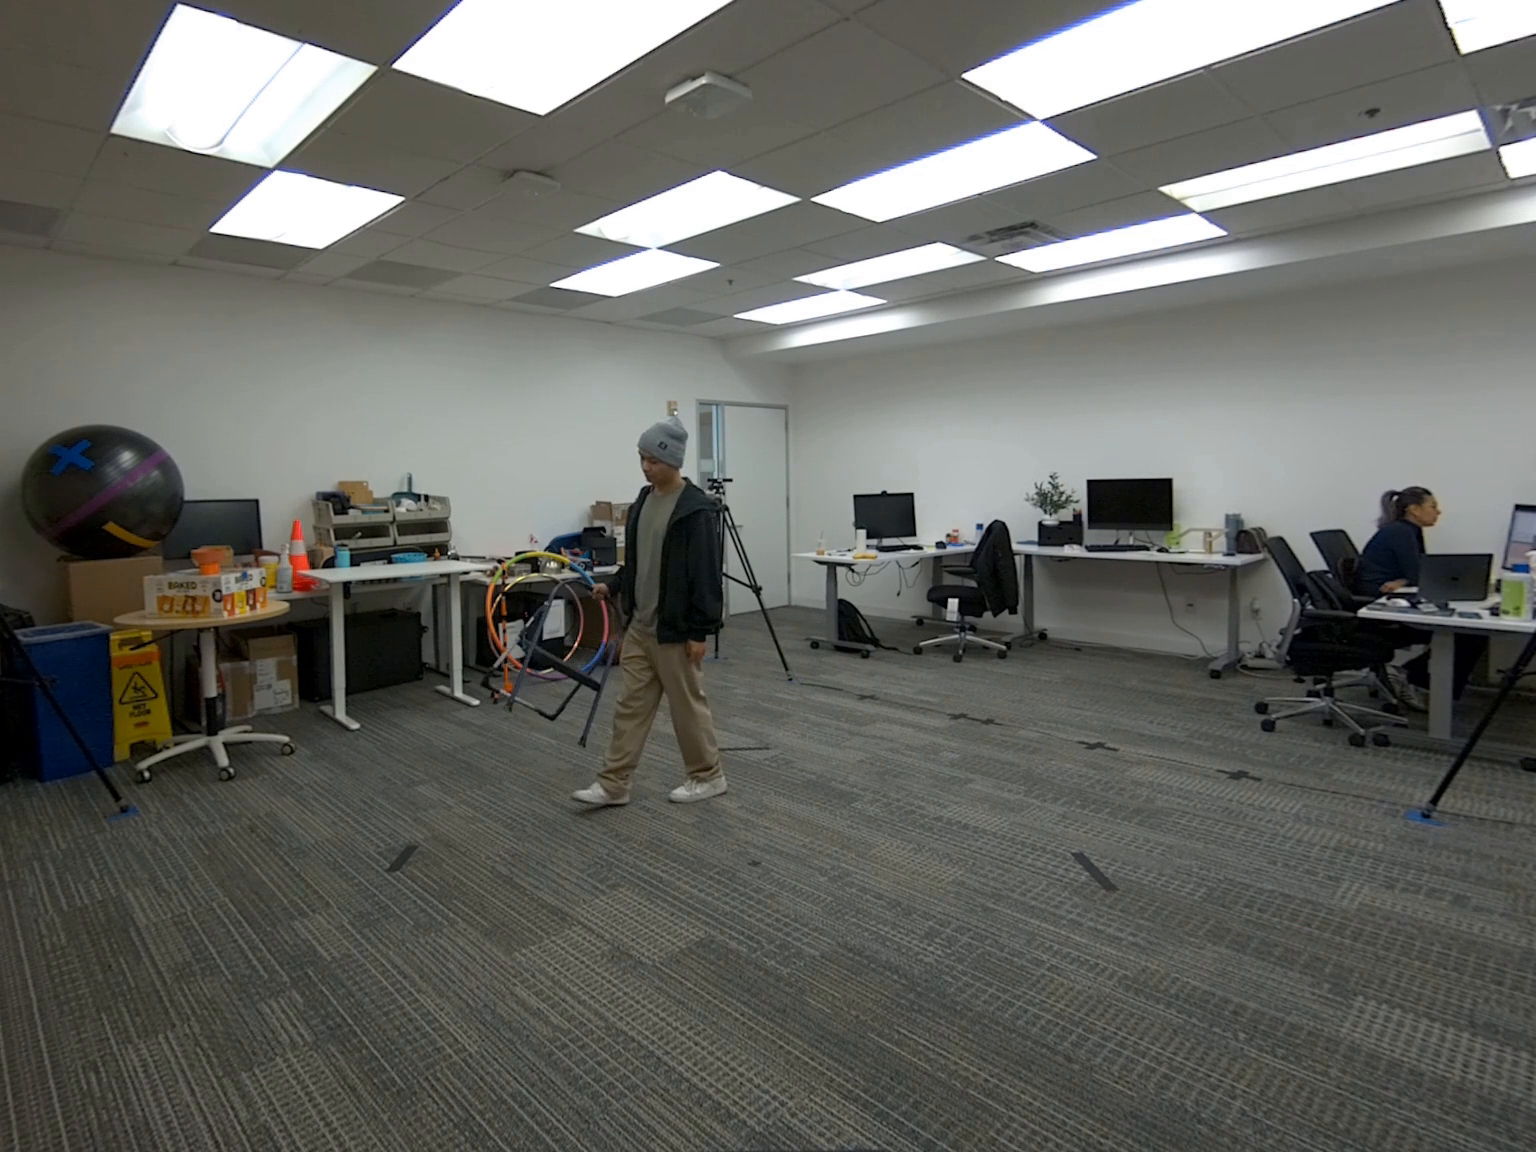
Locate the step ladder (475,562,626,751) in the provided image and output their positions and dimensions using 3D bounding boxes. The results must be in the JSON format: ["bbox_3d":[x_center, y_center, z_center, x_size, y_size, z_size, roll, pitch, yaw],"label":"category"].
[{"bbox_3d":[-0.865,0.338,3.705,0.415,0.608,0.361,38,-13,-37],"label":"step ladder"}]
